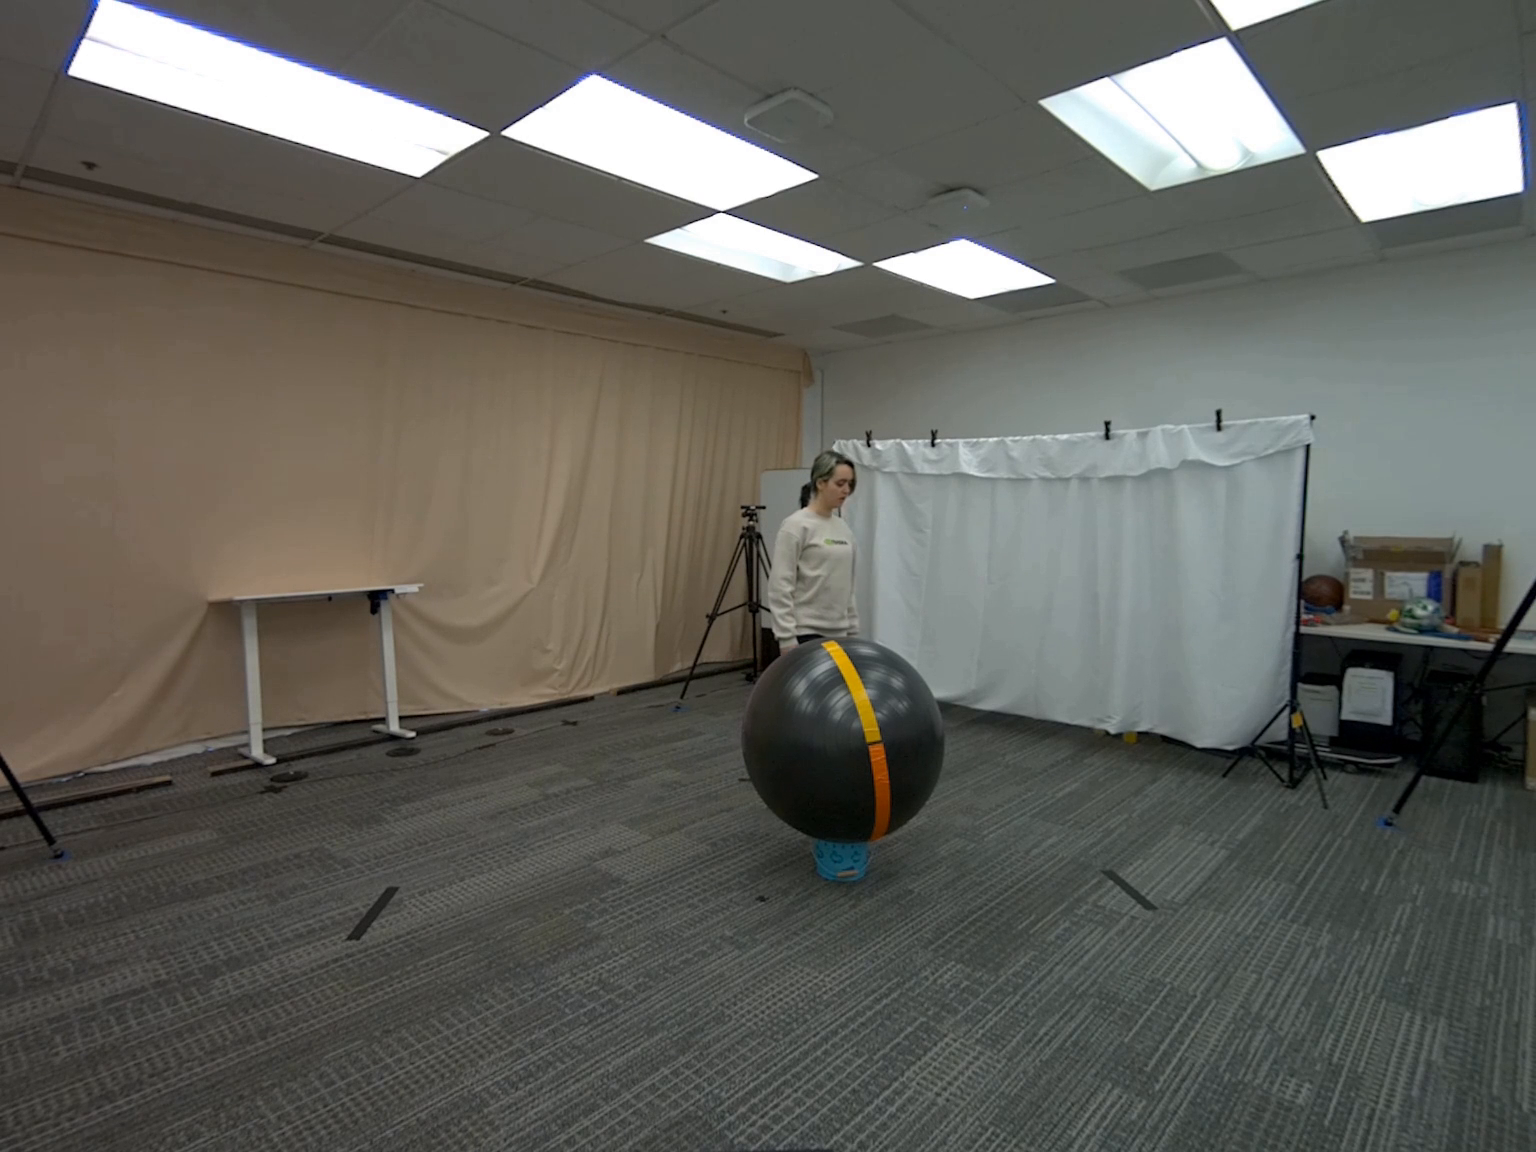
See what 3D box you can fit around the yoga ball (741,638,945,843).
[{"bbox_3d":[0.281,0.615,3.182,0.757,0.756,0.760,0,4,-2],"label":"yoga ball"}]
